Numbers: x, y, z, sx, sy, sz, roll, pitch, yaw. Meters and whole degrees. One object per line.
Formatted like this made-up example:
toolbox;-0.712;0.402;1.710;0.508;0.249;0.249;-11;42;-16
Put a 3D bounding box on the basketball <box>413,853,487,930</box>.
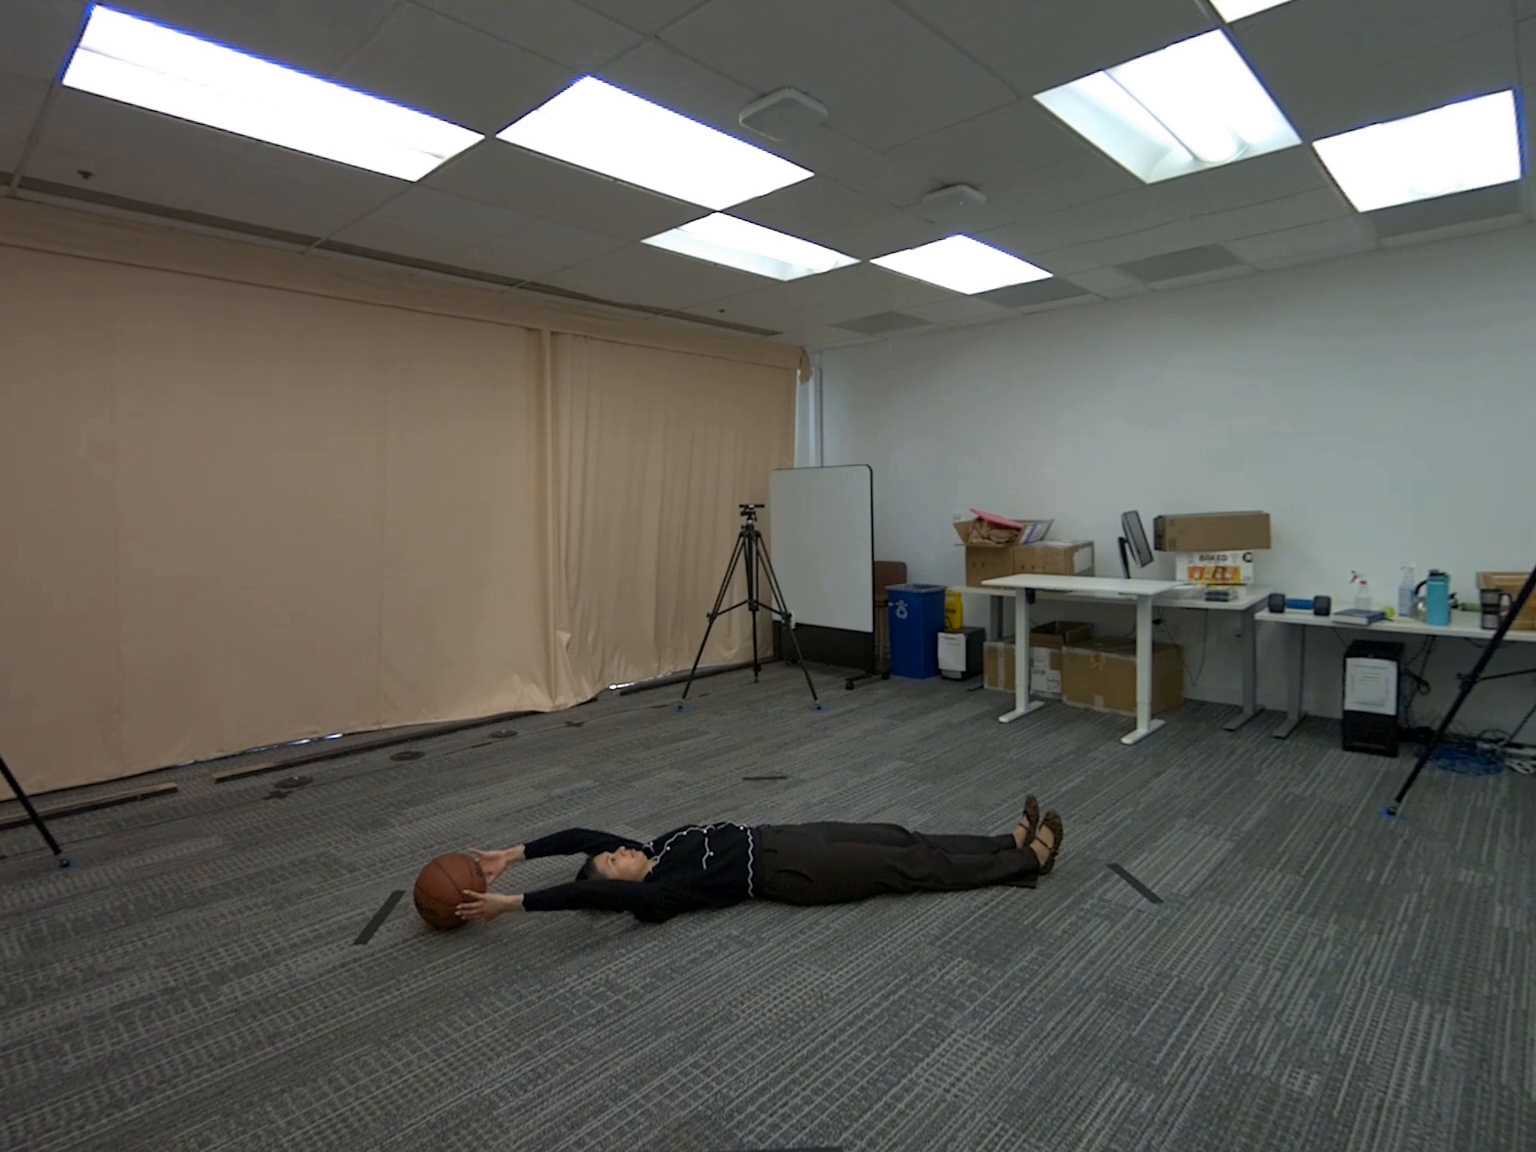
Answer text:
basketball;-1.072;1.062;2.832;0.236;0.235;0.237;-1;4;-2
